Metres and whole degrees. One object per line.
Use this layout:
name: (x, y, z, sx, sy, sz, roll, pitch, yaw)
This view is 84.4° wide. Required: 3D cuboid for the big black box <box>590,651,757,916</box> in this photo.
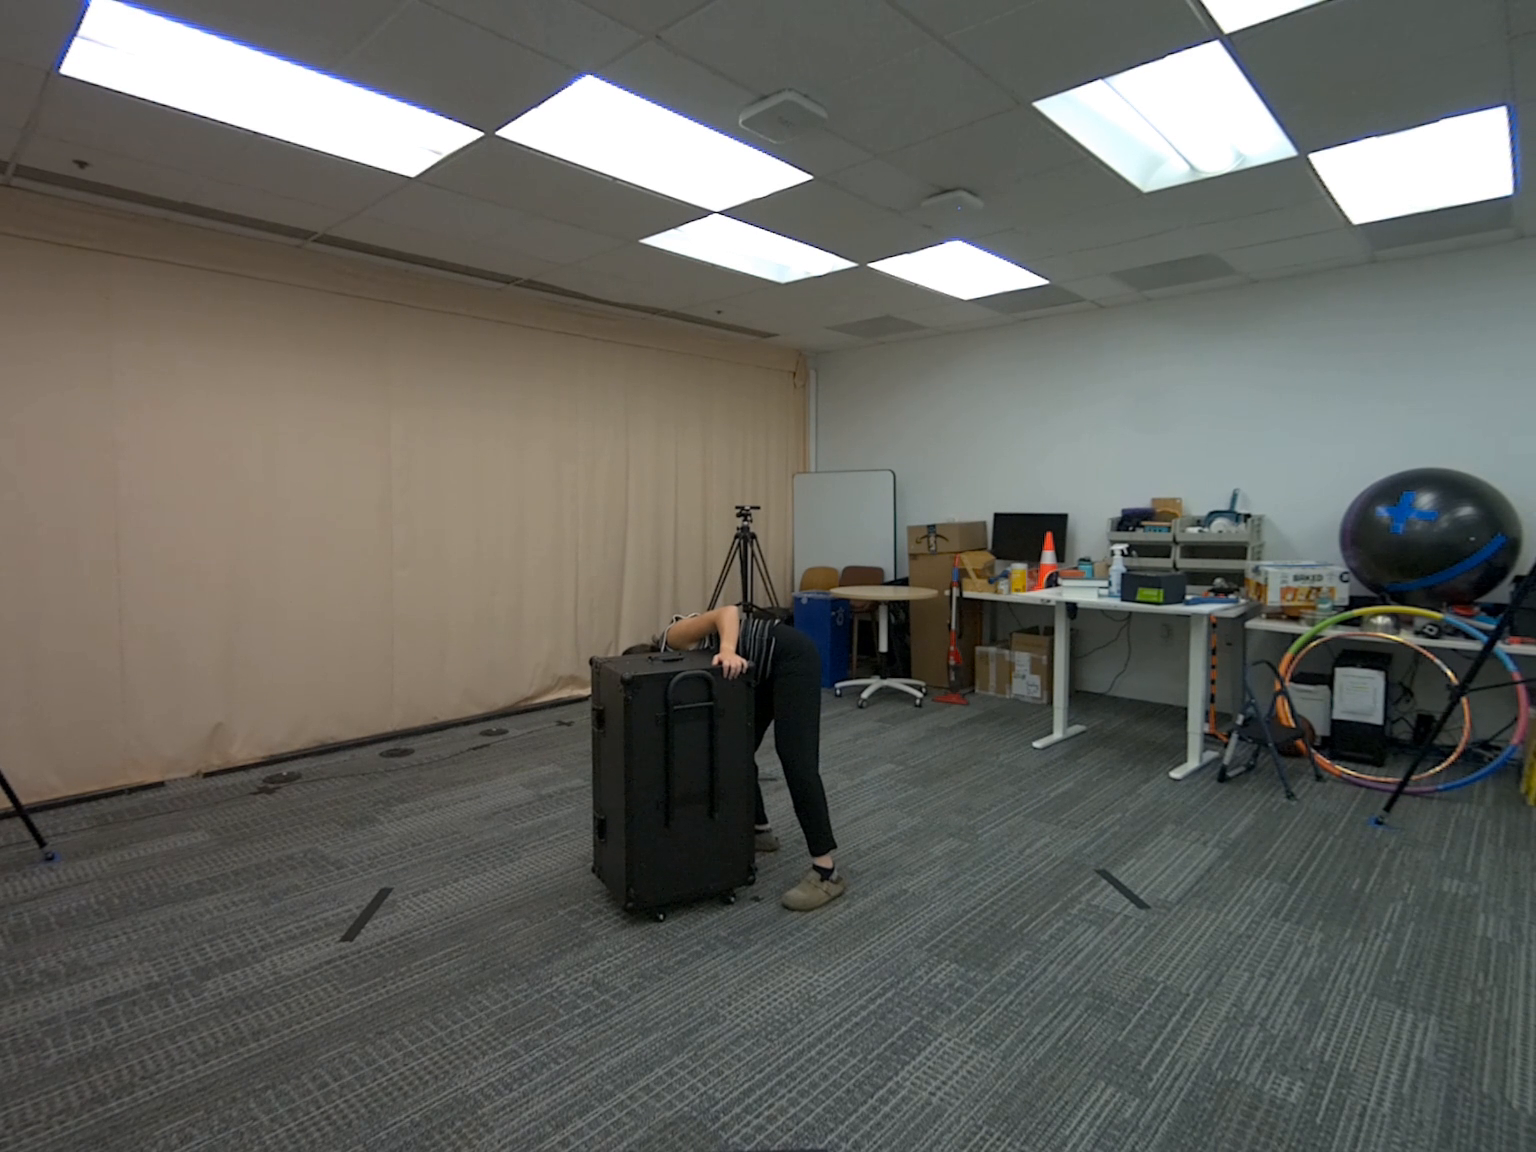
big black box: (-0.329, 0.716, 2.974, 0.508, 0.859, 0.407, -2, 5, -26)
